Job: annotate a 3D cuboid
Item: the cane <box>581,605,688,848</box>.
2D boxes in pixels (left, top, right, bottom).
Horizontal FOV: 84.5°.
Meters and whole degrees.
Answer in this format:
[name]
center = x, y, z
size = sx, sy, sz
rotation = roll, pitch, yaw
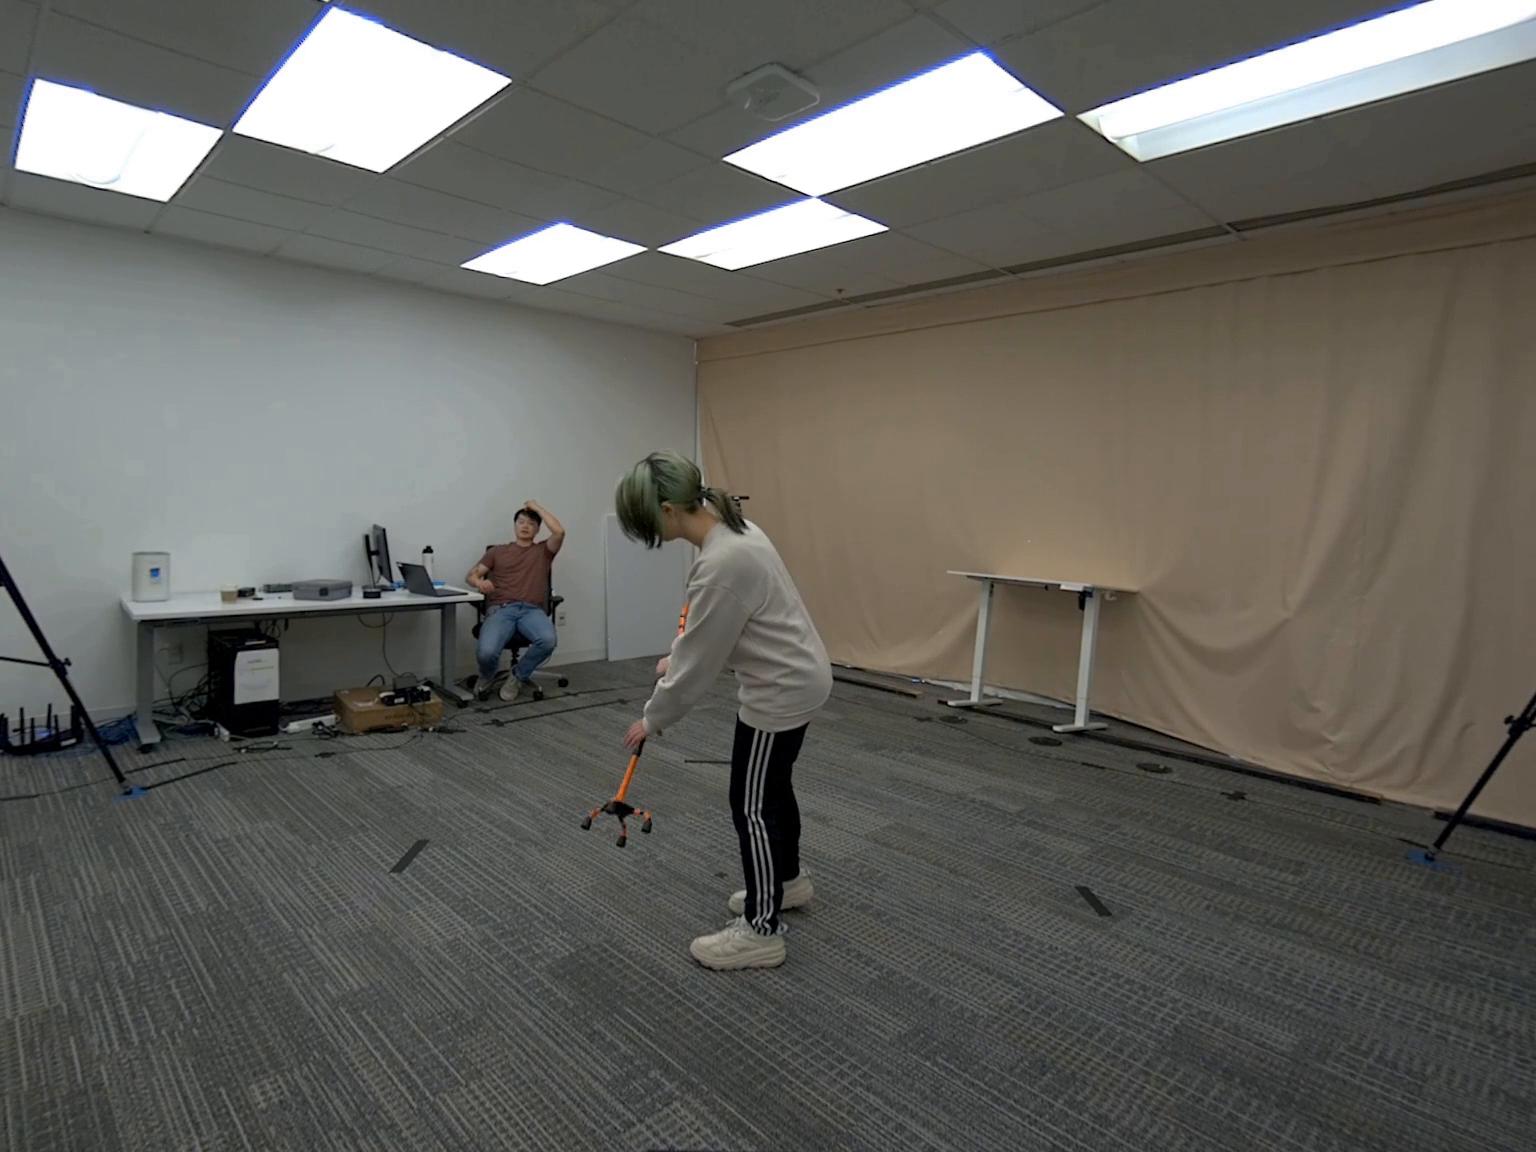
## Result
[cane]
center = -0.362, 0.420, 2.764
size = 0.149, 0.921, 0.207
rotation = 33, -45, -19
